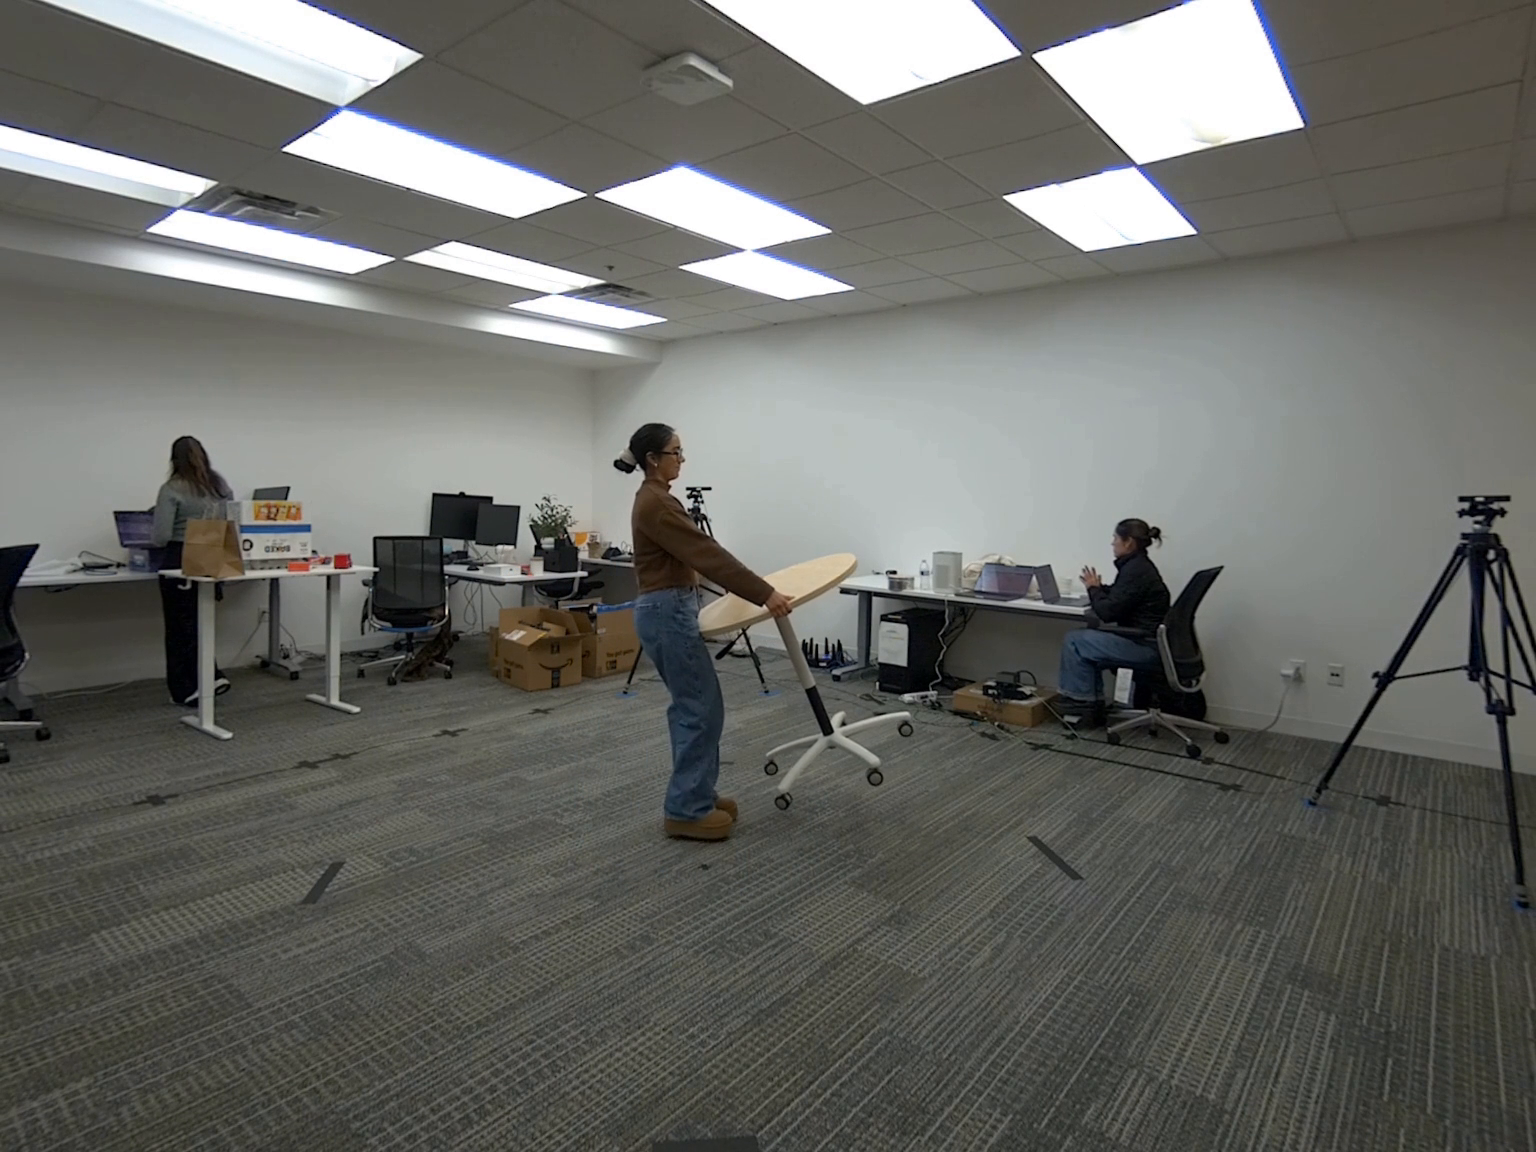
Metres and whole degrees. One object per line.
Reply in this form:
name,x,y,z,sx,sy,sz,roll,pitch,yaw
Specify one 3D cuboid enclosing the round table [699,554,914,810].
round table,0.158,0.426,3.578,0.786,0.779,0.792,-22,8,1
